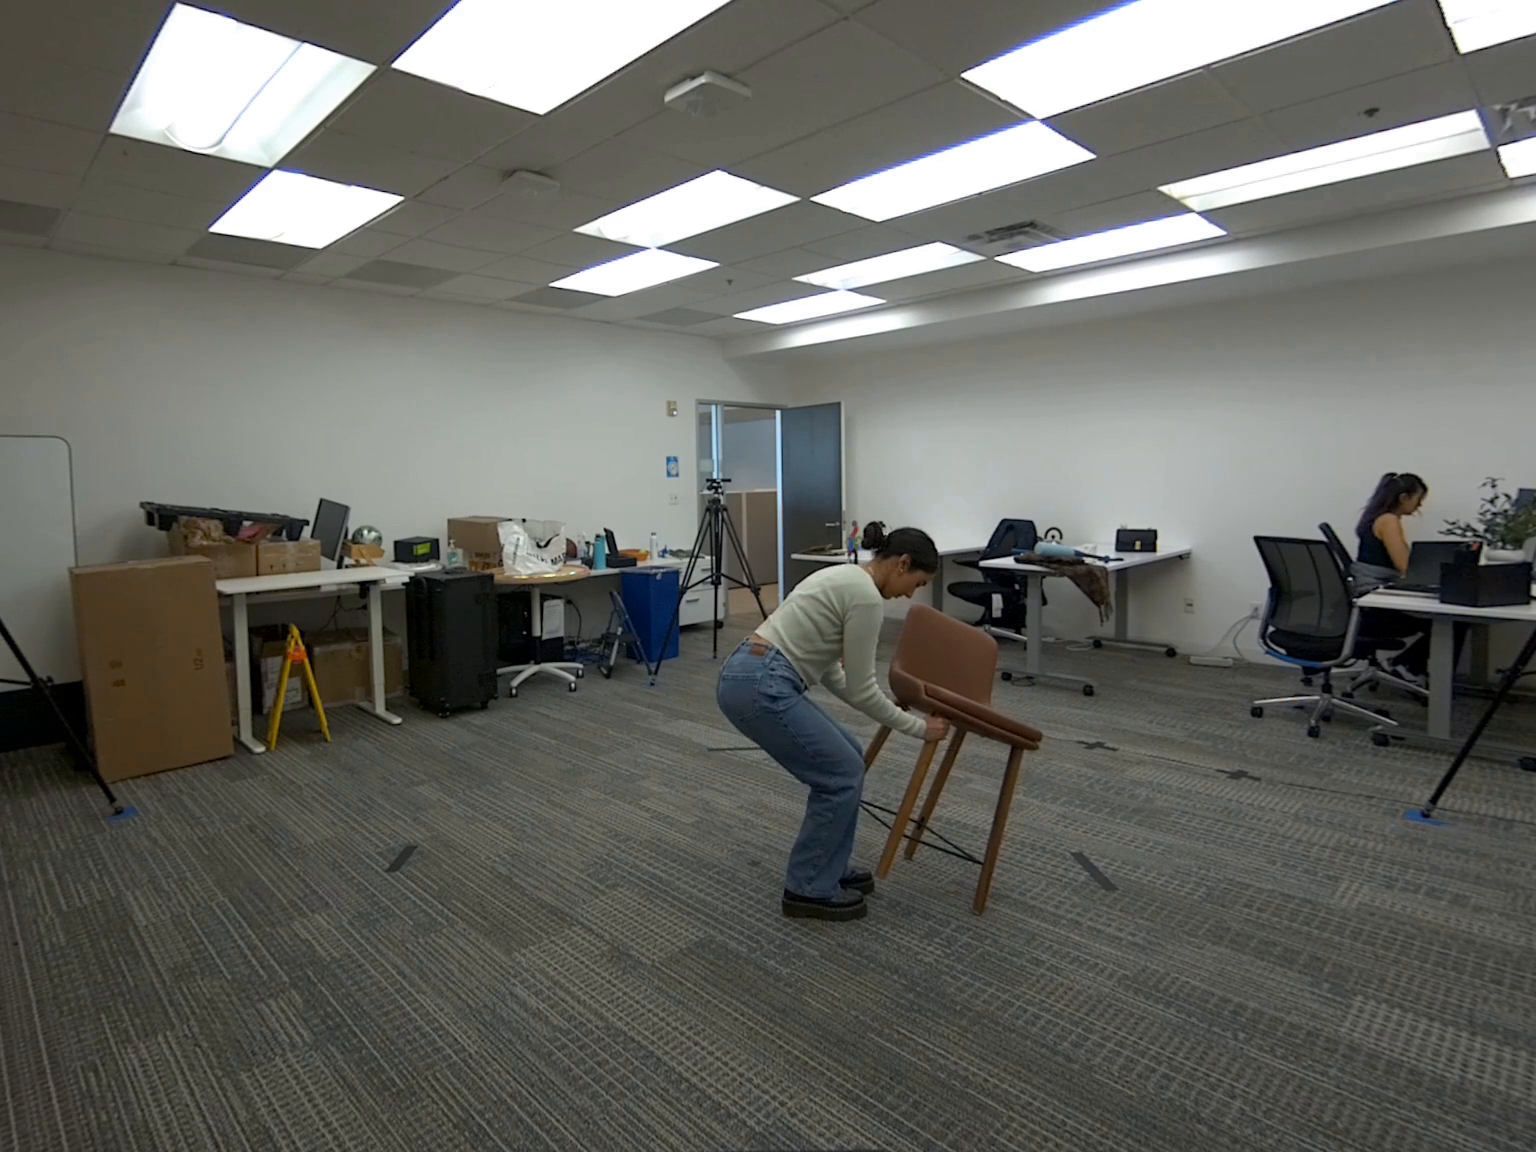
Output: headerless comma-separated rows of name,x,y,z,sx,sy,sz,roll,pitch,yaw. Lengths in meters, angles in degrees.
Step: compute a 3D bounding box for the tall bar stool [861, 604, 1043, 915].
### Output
tall bar stool,0.608,0.583,2.914,0.447,0.893,0.476,24,-7,-19
